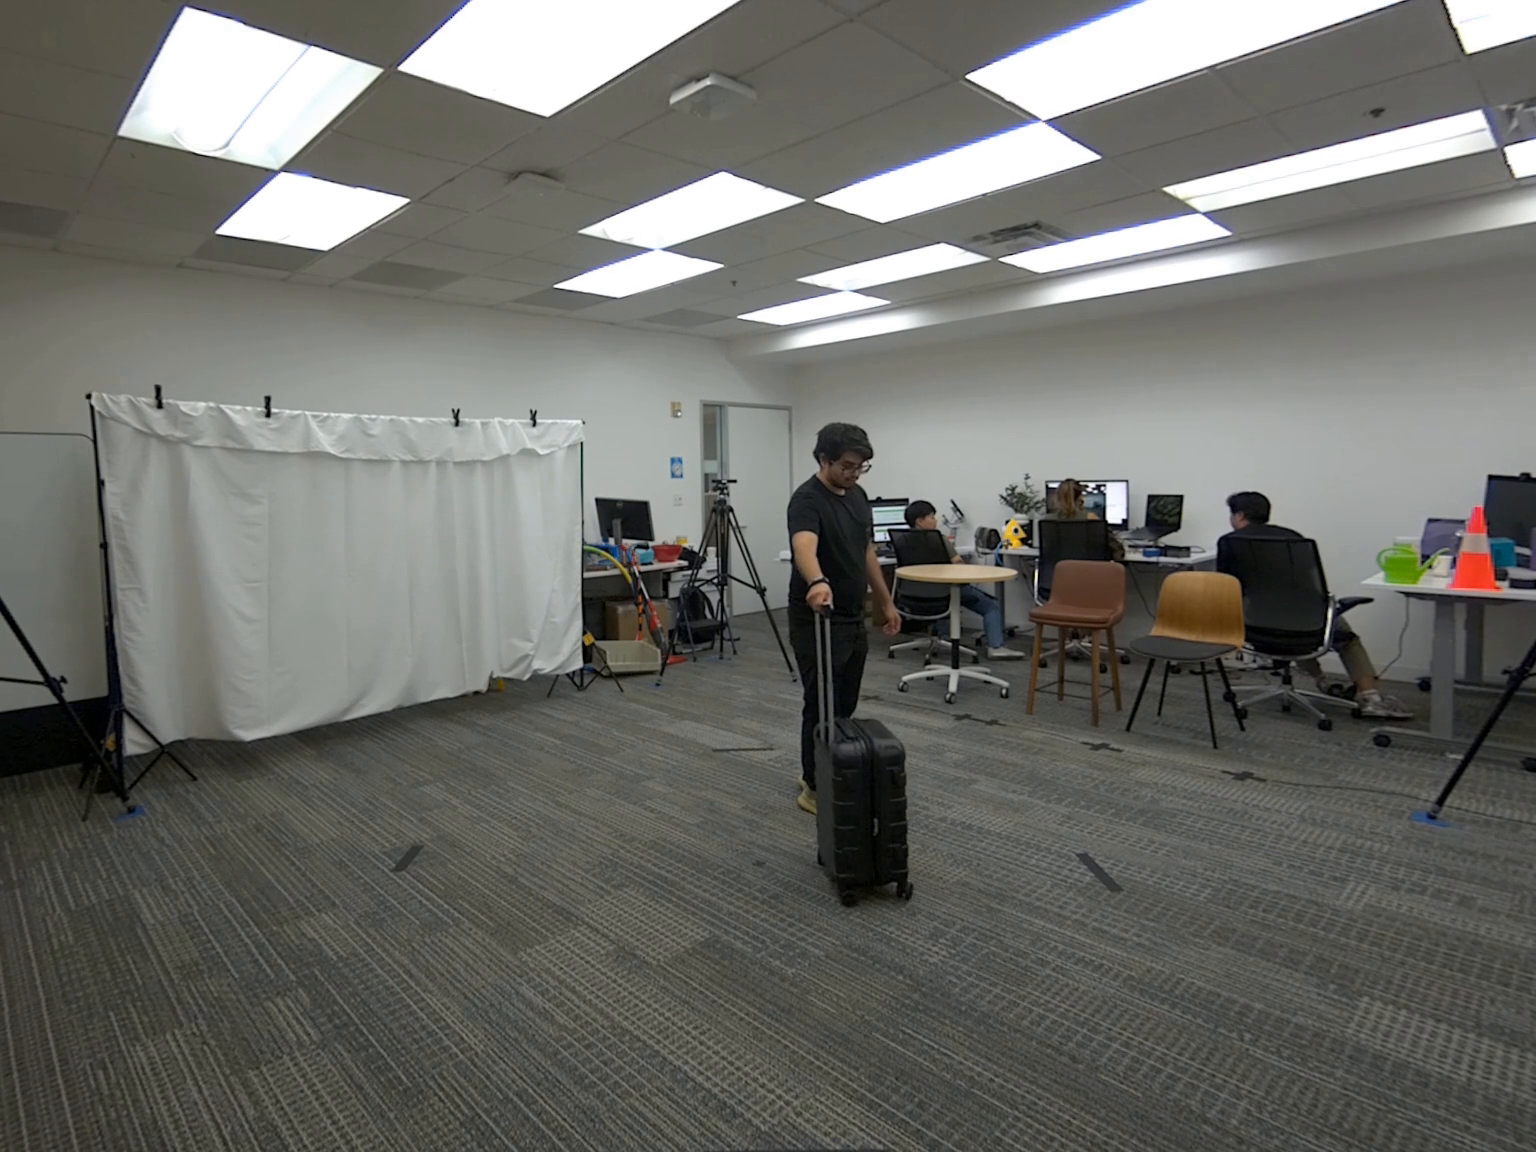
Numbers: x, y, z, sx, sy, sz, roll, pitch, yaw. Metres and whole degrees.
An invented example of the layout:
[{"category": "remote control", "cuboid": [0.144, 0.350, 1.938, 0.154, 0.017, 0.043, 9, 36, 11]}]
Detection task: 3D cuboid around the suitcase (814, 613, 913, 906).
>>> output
[{"category": "suitcase", "cuboid": [0.315, 0.587, 2.928, 0.255, 0.974, 0.389, -1, 5, -9]}]
